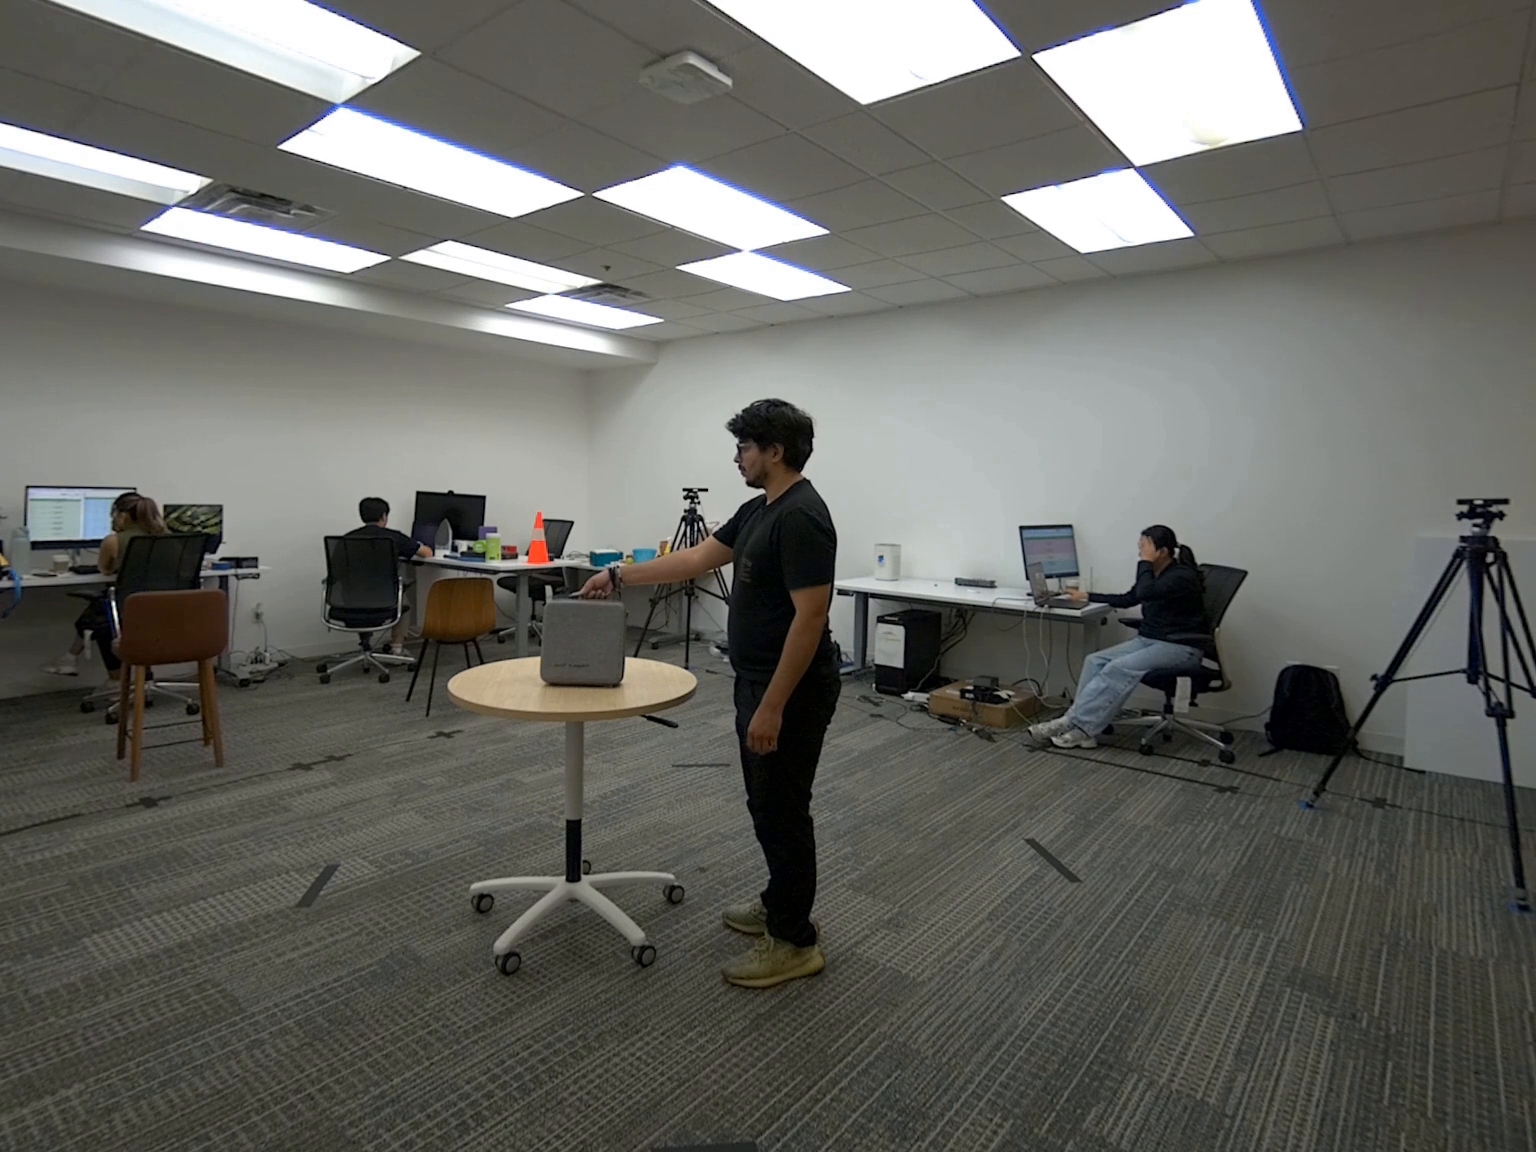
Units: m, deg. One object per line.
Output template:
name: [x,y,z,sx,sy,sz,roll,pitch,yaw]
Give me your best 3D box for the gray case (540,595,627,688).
gray case: [-0.582,0.202,2.618,0.257,0.262,0.104,2,-6,0]
